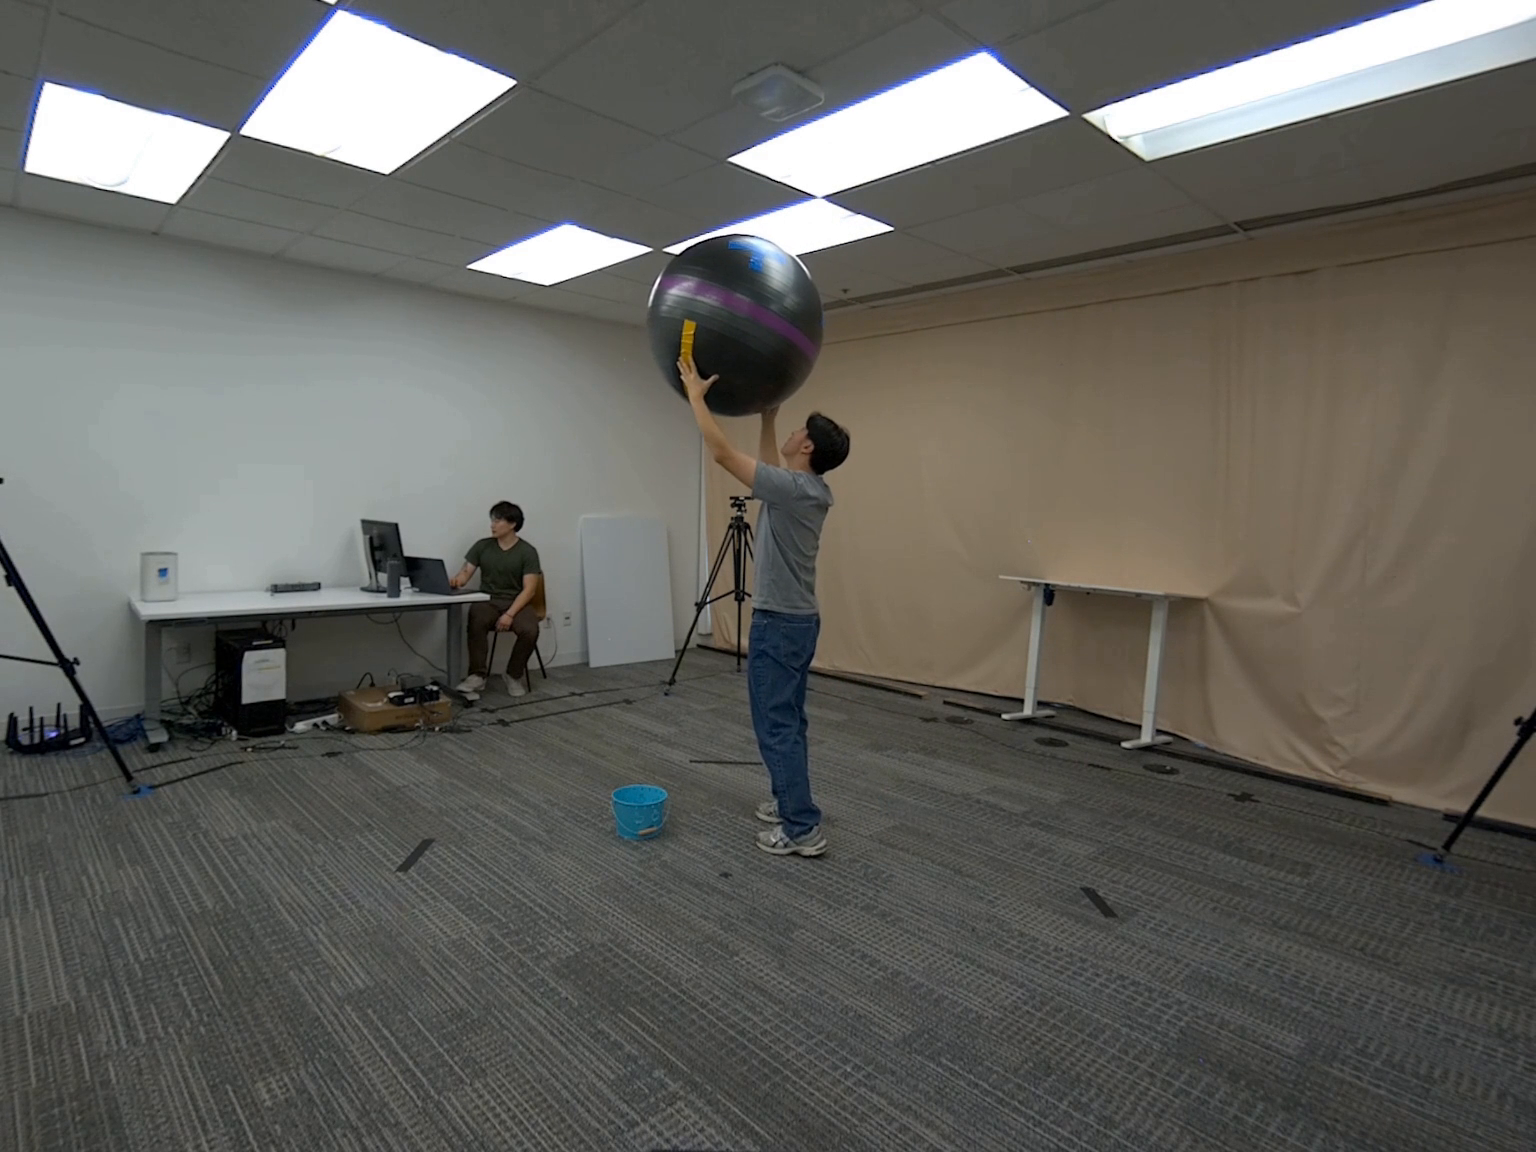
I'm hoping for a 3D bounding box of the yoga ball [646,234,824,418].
[{"bbox_3d":[-0.146,-1.061,3.601,0.757,0.756,0.761,1,4,-1],"label":"yoga ball"}]
